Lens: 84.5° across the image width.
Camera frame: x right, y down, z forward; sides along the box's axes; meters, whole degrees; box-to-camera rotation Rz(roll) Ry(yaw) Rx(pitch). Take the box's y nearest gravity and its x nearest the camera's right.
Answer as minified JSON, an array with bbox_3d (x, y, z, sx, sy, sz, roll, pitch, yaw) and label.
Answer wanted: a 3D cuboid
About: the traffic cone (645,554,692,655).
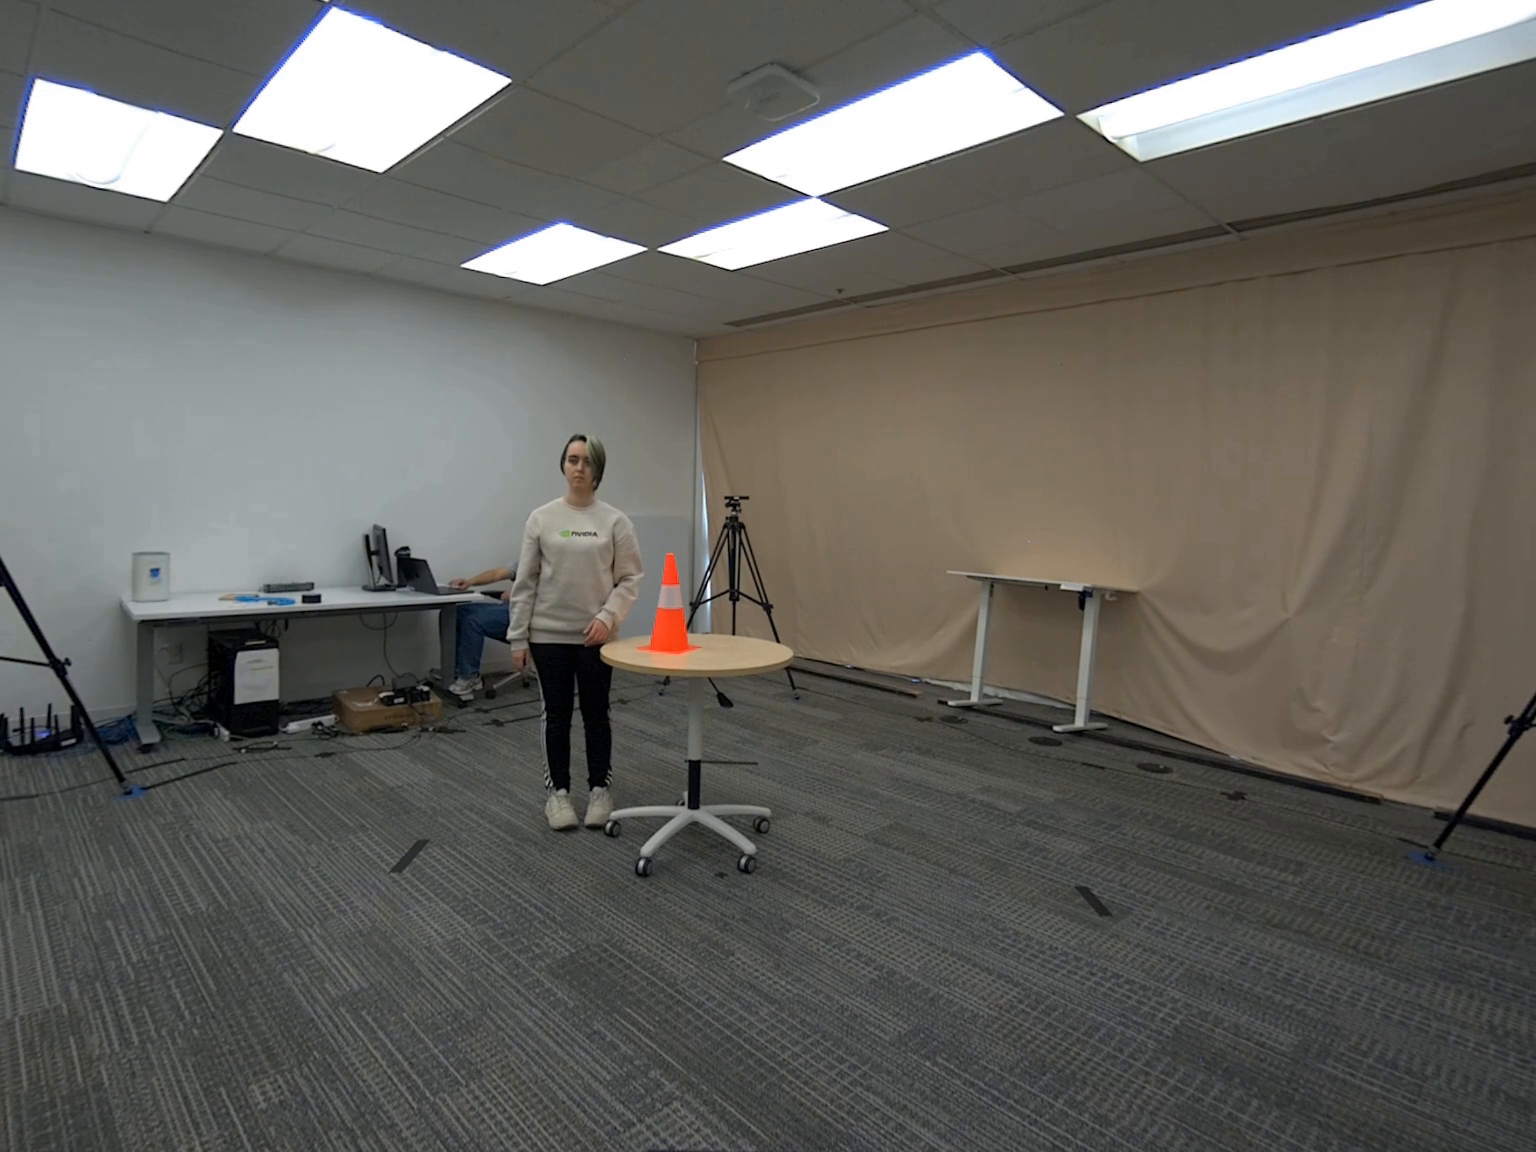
[{"bbox_3d":[-0.404,0.102,3.361,0.200,0.383,0.208,-3,5,-37],"label":"traffic cone"}]
